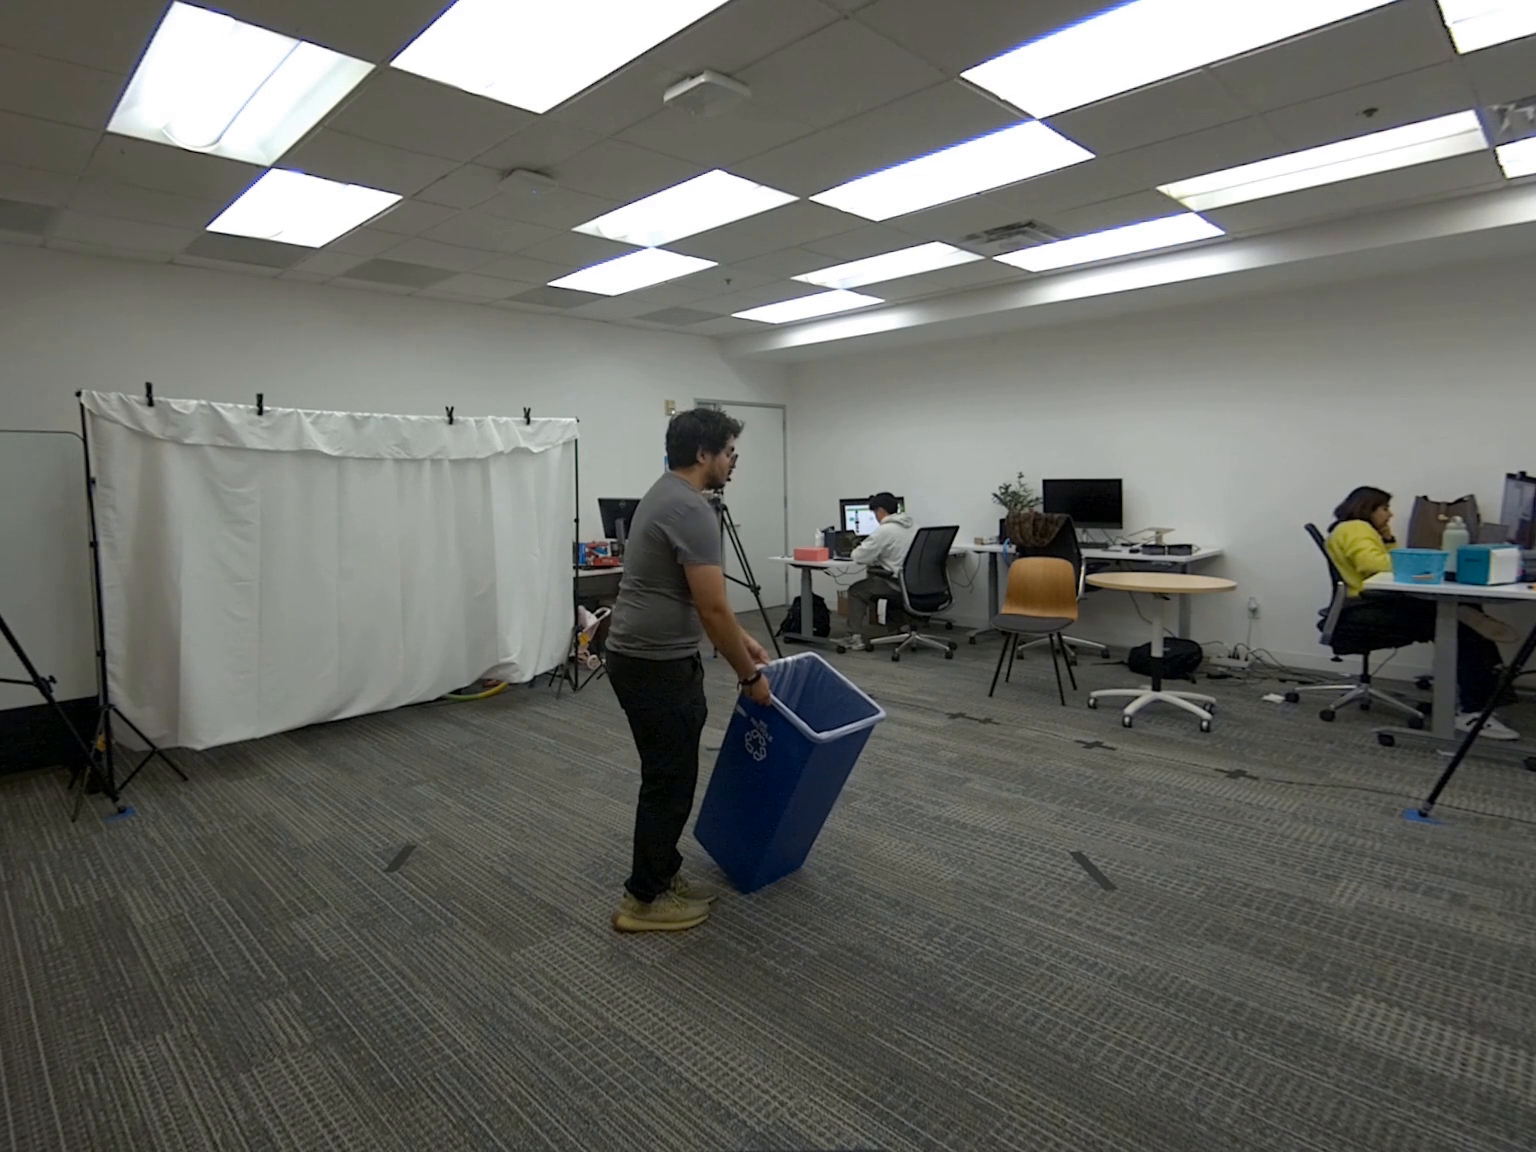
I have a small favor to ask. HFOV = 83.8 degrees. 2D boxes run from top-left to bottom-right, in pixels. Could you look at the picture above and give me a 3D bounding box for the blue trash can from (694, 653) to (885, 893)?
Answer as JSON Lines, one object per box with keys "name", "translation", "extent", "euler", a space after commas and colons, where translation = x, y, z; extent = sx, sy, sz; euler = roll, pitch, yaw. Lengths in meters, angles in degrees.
{"name": "blue trash can", "translation": [0.047, 0.676, 2.926], "extent": [0.364, 0.705, 0.392], "euler": [-7, 36, -46]}
